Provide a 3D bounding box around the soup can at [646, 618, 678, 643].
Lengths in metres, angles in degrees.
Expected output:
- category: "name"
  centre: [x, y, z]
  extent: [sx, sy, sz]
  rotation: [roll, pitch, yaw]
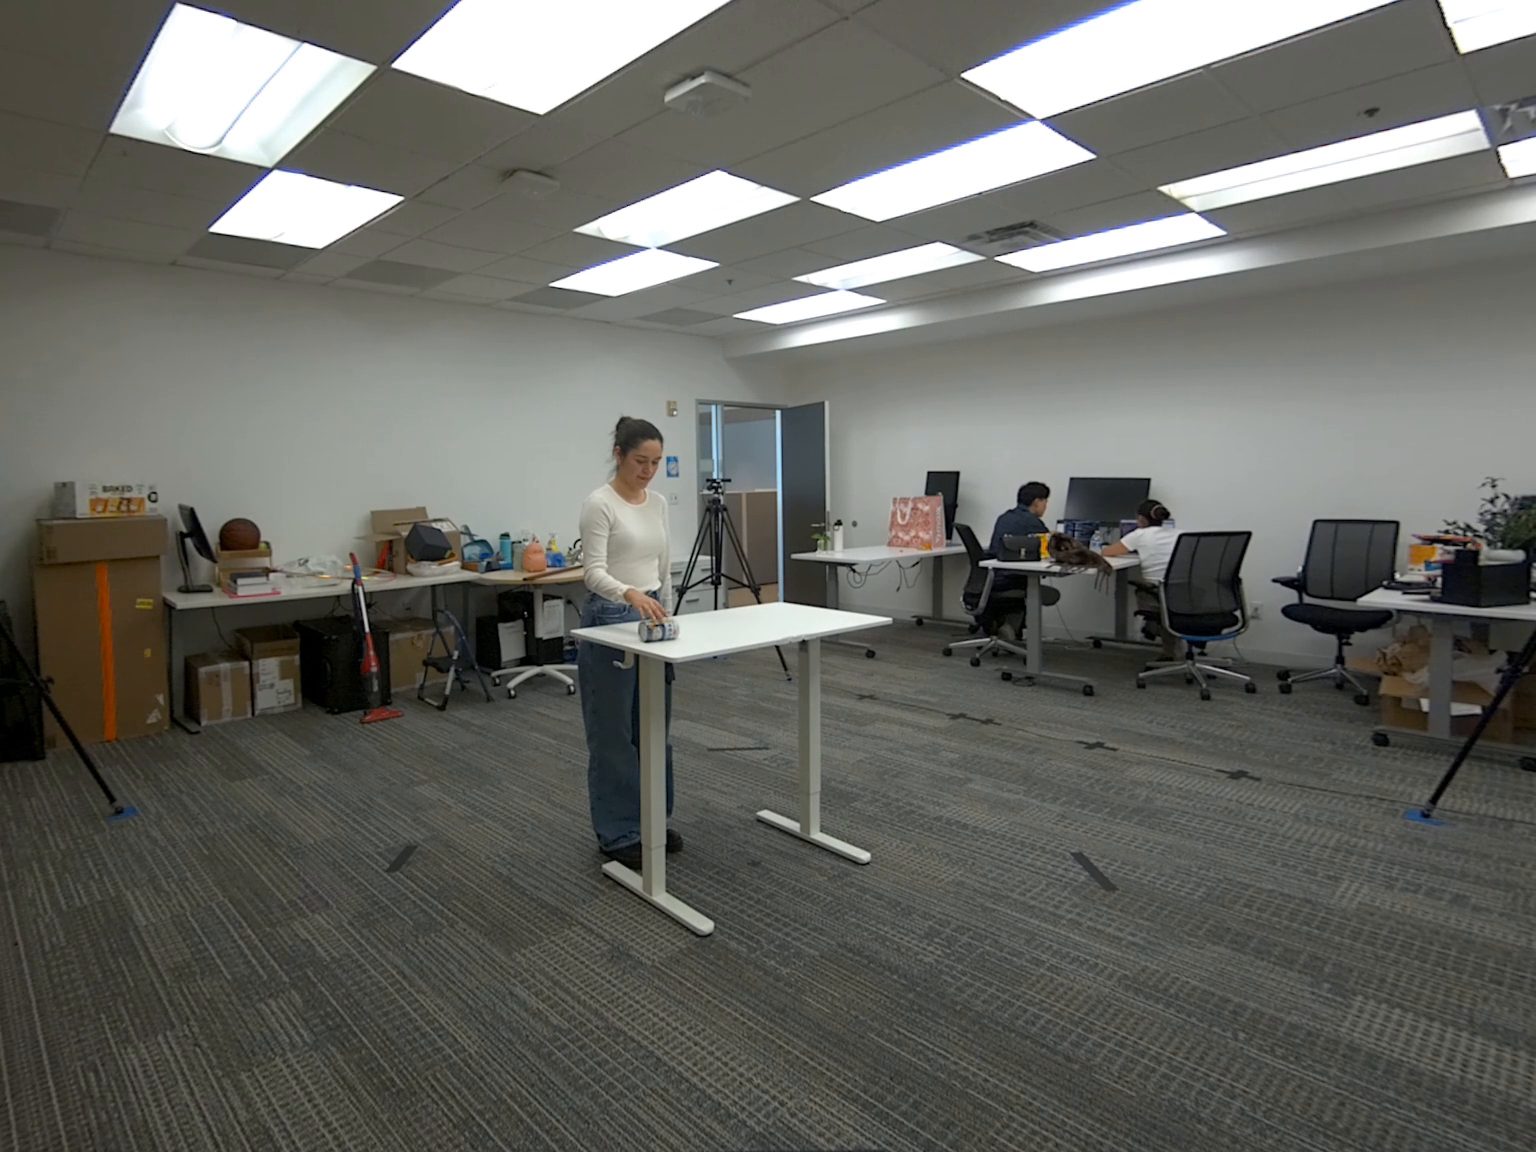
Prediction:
- category: "soup can"
  centre: [-0.320, 0.170, 2.742]
  extent: [0.067, 0.067, 0.122]
  rotation: [-1, 7, 1]
